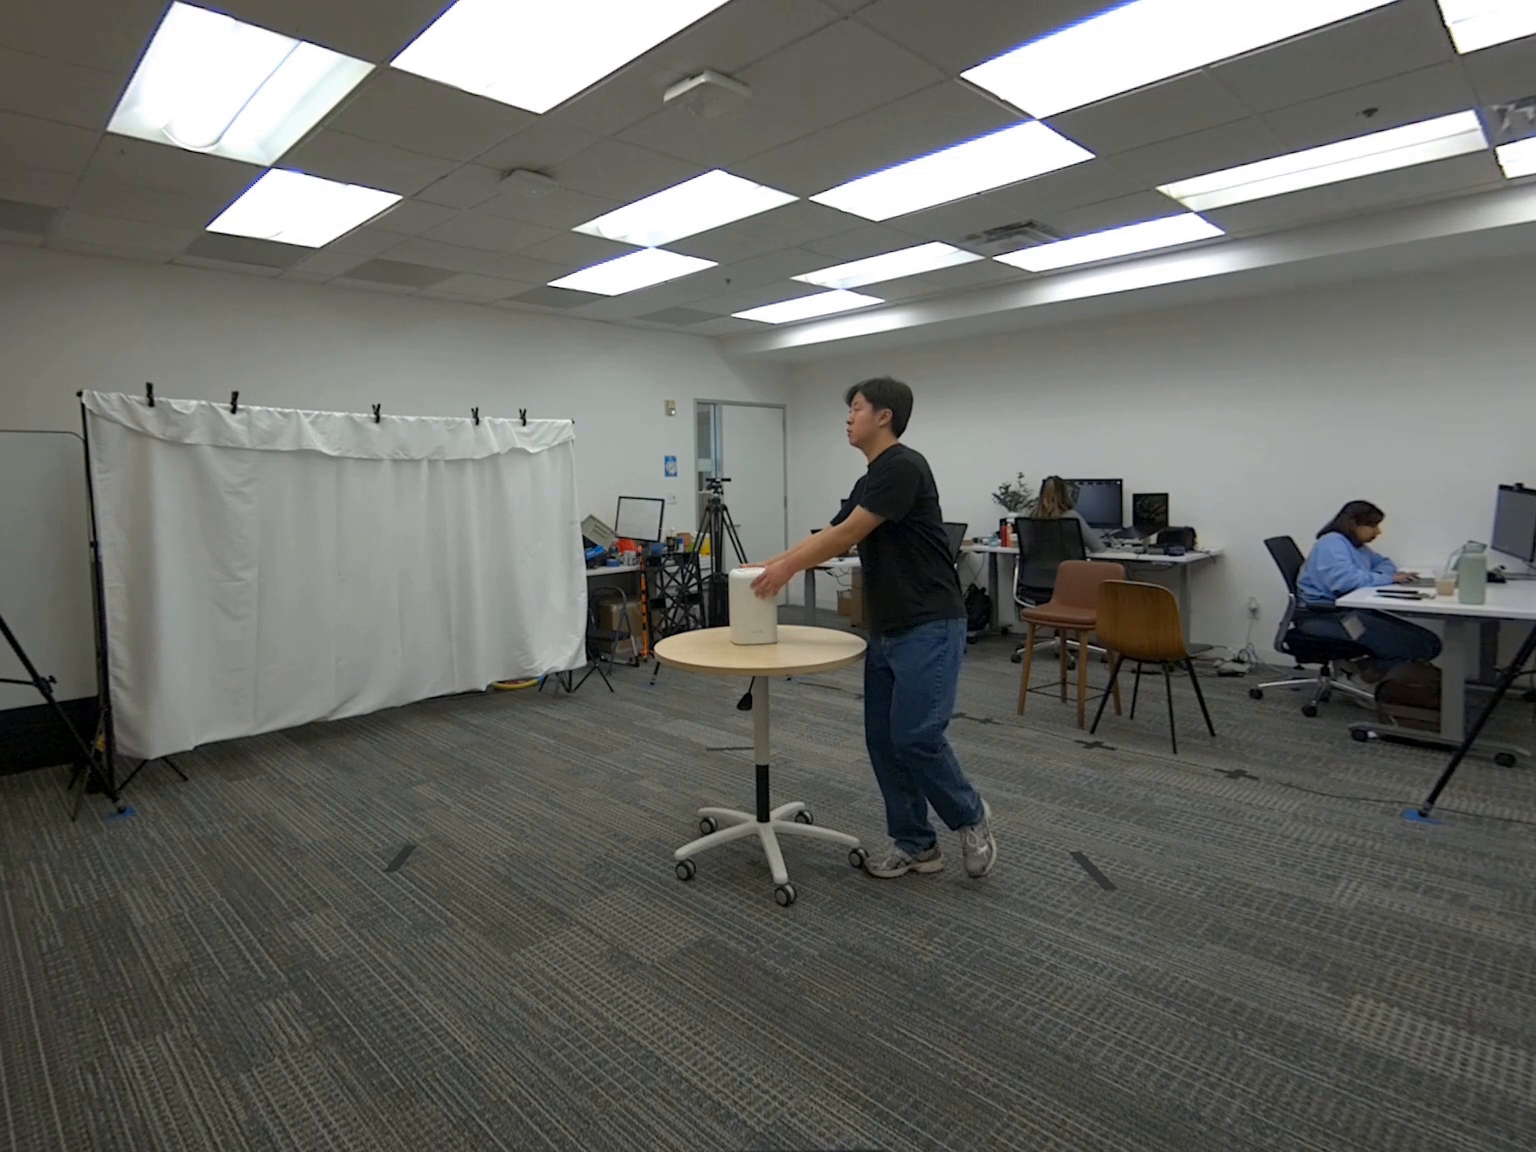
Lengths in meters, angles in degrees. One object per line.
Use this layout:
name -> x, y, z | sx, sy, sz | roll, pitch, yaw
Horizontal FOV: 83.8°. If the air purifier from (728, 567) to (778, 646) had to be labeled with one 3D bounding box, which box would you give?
air purifier -> -0.055, 0.109, 3.159 | 0.171, 0.264, 0.172 | -1, 6, -1
